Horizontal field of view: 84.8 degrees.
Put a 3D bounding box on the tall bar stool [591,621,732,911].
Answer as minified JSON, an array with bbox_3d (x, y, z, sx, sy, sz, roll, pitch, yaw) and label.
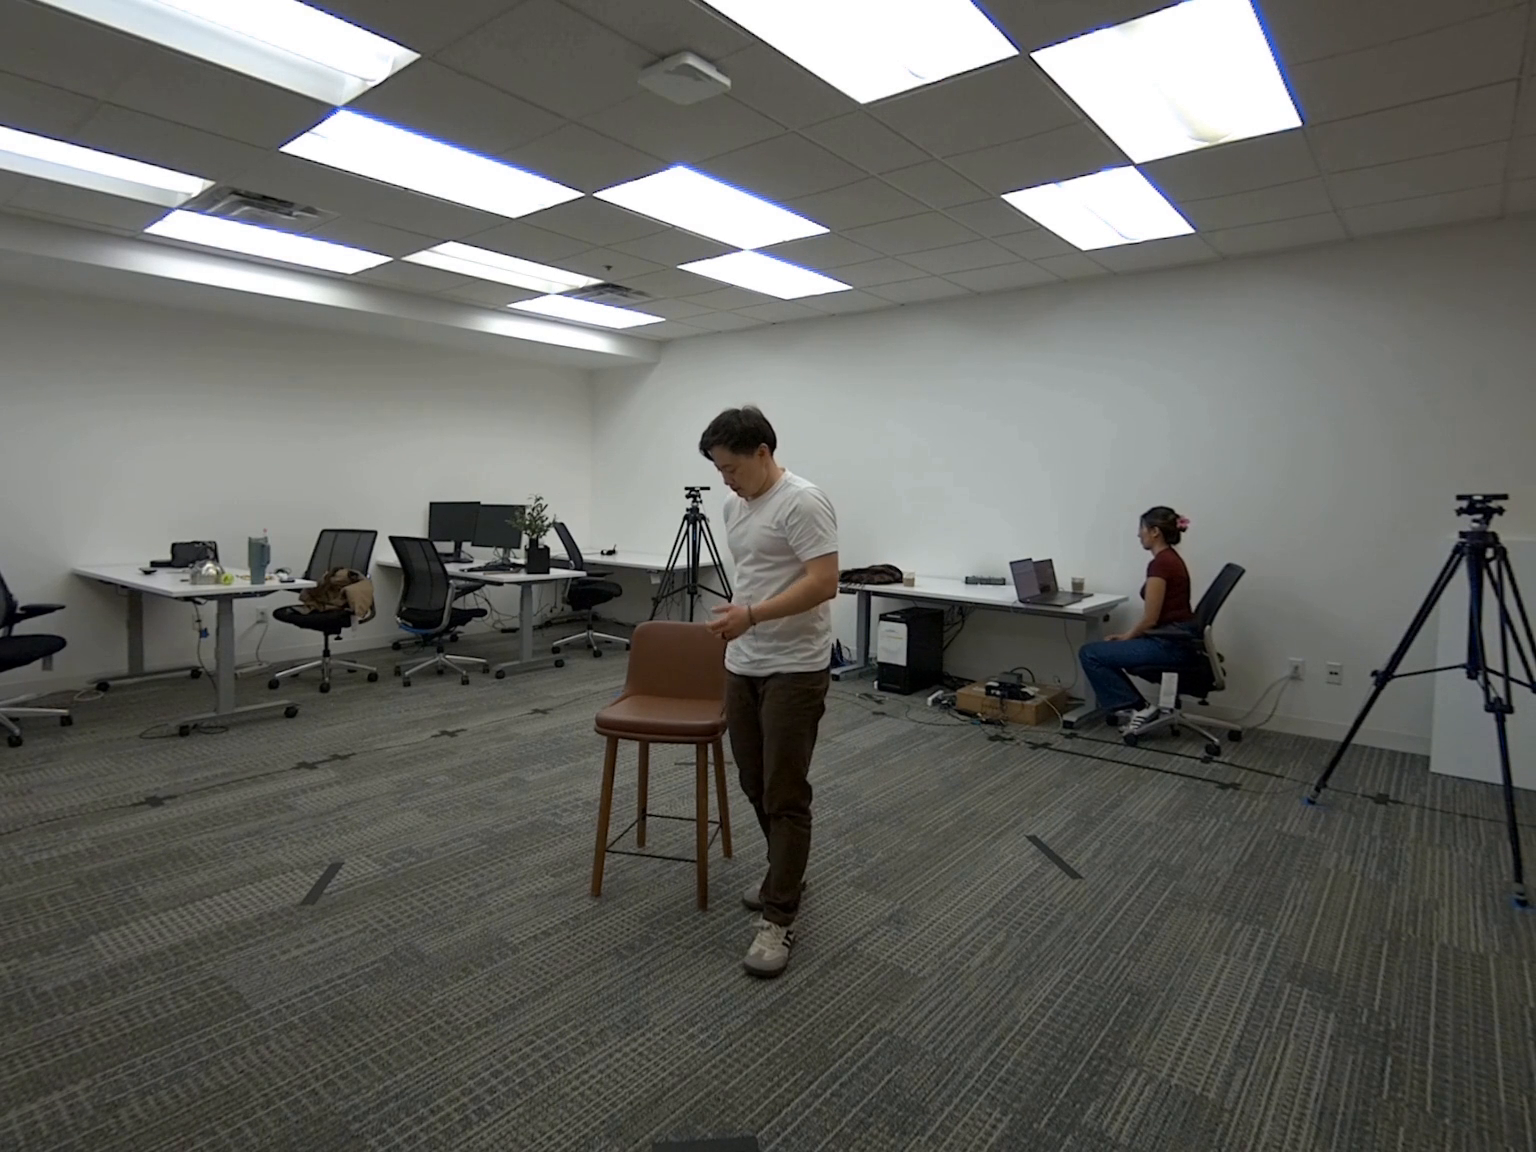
[{"bbox_3d":[-0.367,0.638,3.036,0.464,0.889,0.461,1,2,14],"label":"tall bar stool"}]
